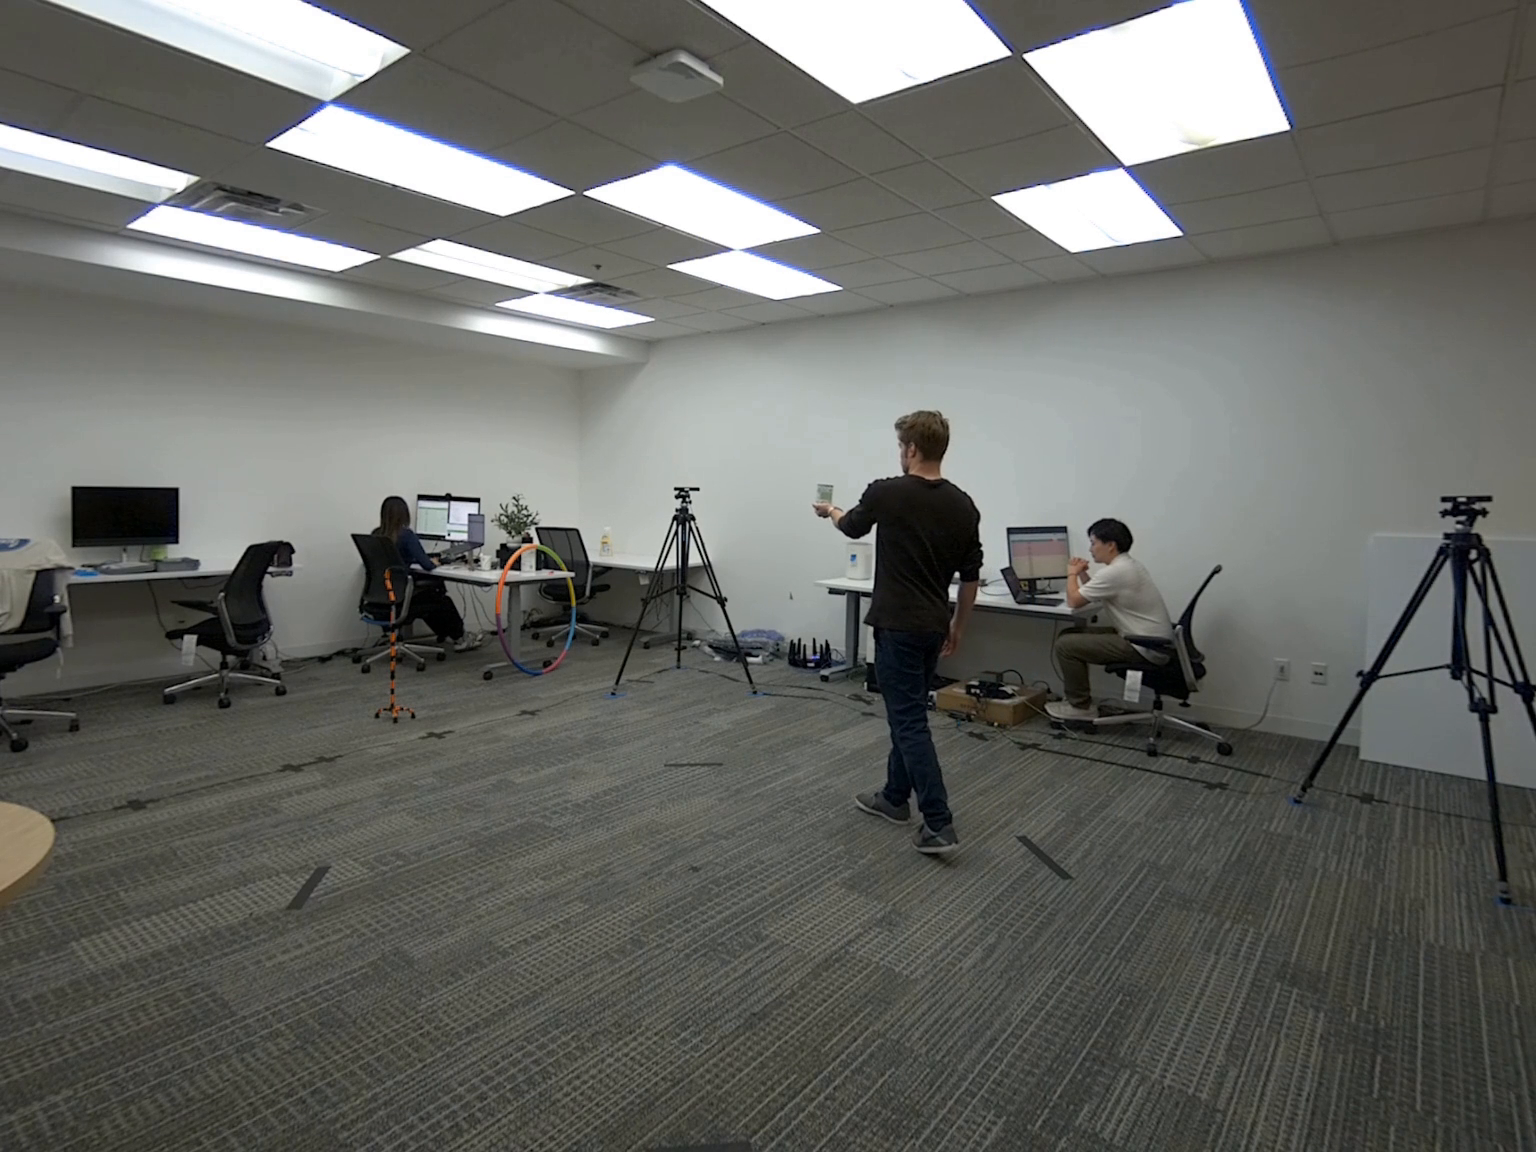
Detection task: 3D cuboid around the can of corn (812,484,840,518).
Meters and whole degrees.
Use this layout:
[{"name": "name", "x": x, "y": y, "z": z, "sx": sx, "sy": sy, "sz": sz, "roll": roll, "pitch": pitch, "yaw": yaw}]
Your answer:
[{"name": "can of corn", "x": 0.251, "y": -0.370, "z": 3.951, "sx": 0.074, "sy": 0.111, "sz": 0.074, "roll": 4, "pitch": 3, "yaw": -2}]
